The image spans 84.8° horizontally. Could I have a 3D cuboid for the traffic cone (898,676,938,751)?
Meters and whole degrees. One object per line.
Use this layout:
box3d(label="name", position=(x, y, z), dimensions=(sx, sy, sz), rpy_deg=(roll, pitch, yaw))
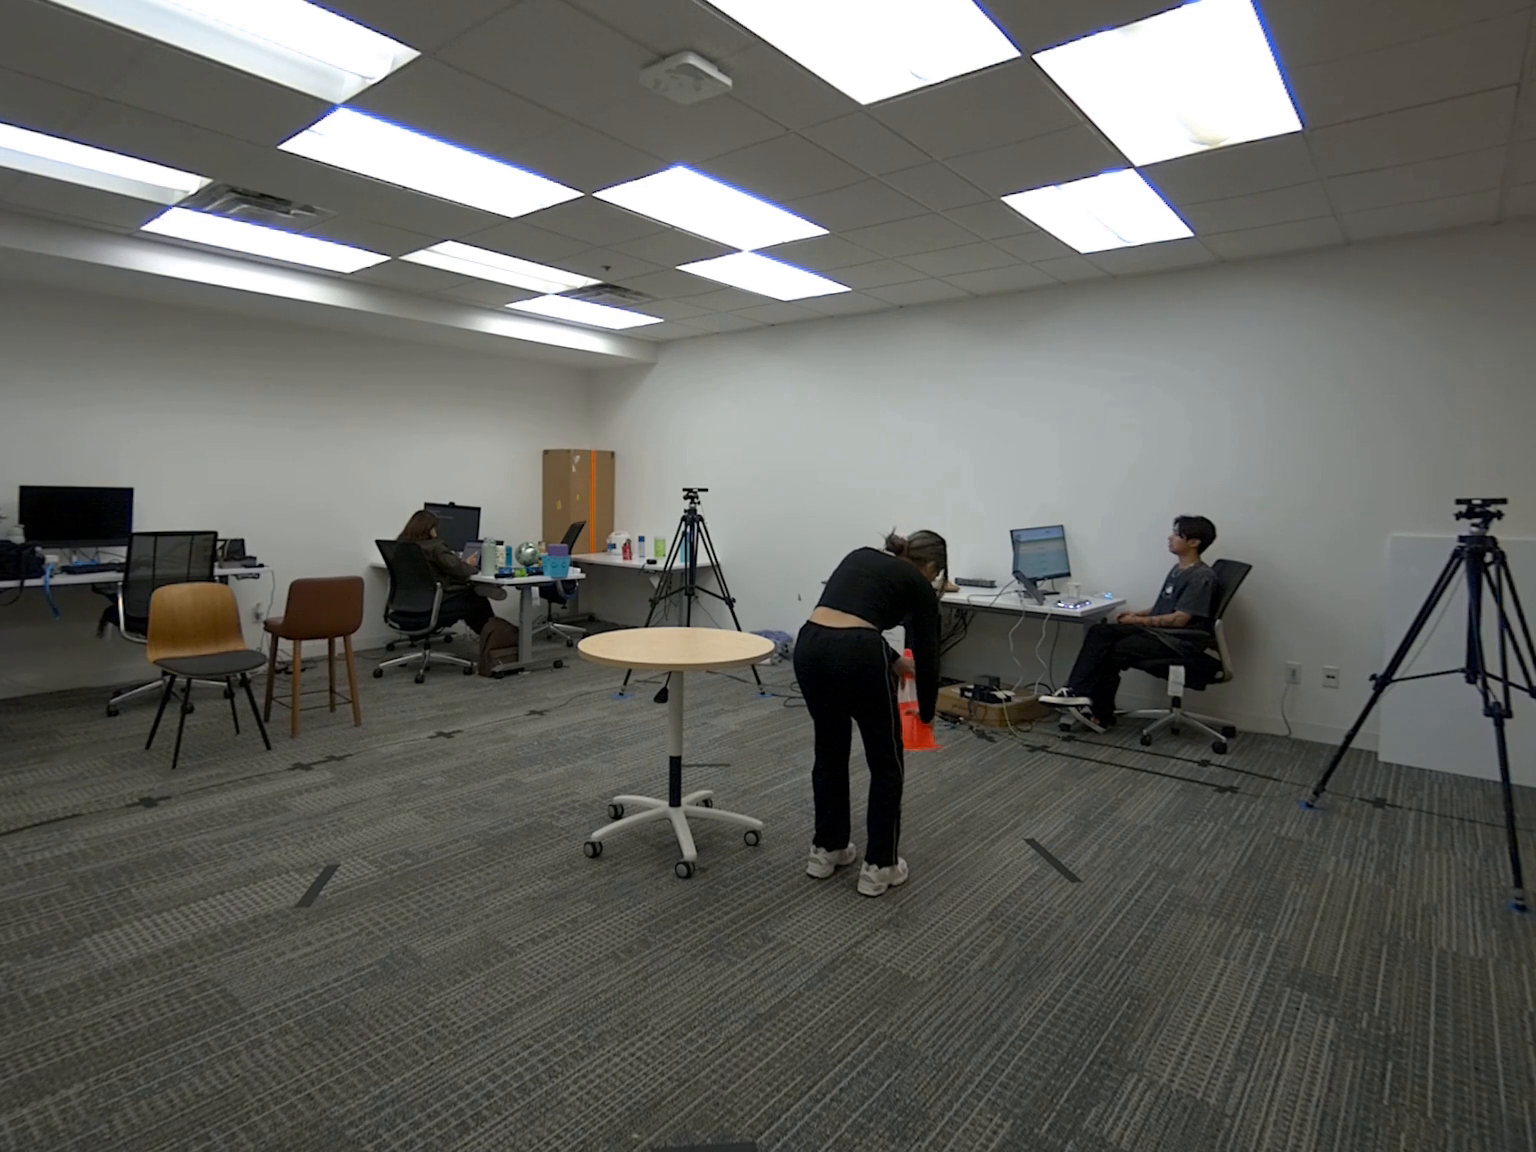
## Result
box3d(label="traffic cone", position=(0.552, 0.480, 3.336), dimensions=(0.199, 0.389, 0.206), rpy_deg=(6, -16, -26))
